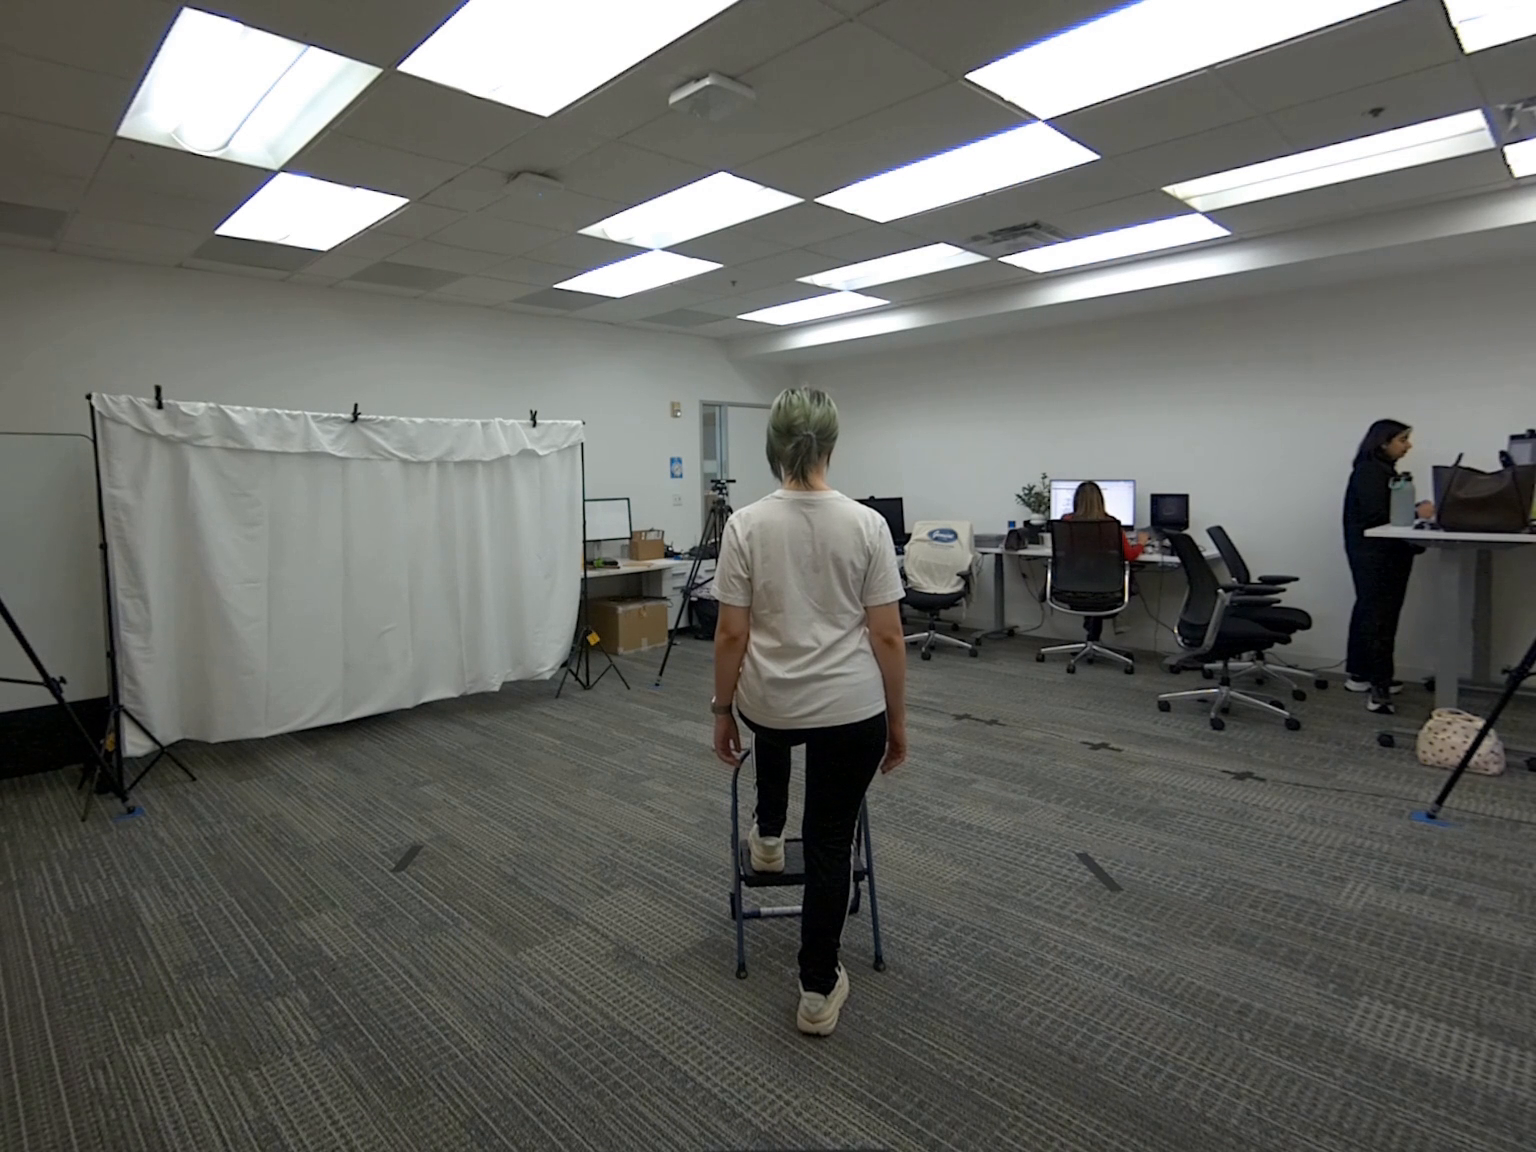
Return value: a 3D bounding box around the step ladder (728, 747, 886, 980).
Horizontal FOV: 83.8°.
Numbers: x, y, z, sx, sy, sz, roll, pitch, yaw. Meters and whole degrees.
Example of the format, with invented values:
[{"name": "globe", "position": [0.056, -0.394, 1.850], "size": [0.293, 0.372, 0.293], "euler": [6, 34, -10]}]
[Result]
[{"name": "step ladder", "position": [0.107, 0.811, 2.565], "size": [0.429, 0.604, 0.352], "euler": [-1, 4, -5]}]
